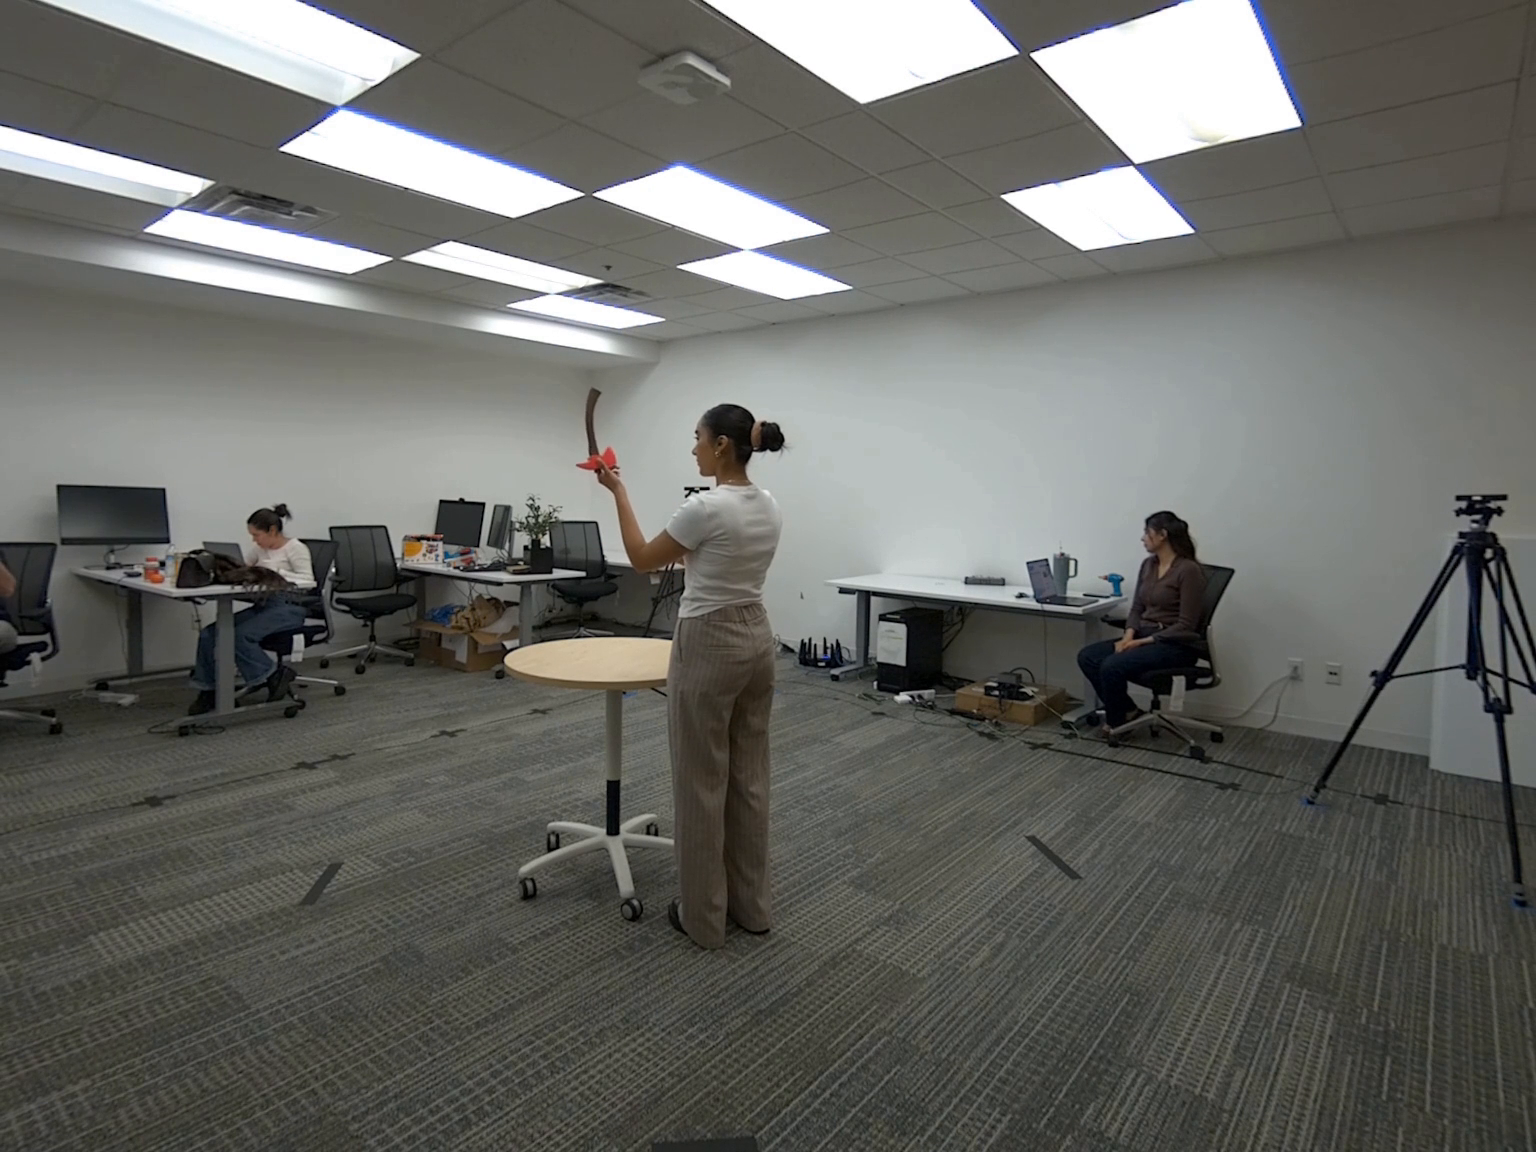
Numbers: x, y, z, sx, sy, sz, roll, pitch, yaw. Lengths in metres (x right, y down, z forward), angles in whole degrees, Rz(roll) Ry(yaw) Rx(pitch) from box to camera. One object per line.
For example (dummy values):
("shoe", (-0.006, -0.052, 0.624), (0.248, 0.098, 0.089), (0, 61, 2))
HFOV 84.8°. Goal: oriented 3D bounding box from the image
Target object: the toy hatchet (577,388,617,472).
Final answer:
("toy hatchet", (-0.534, -0.460, 2.711), (0.129, 0.271, 0.030), (11, -7, -14))
